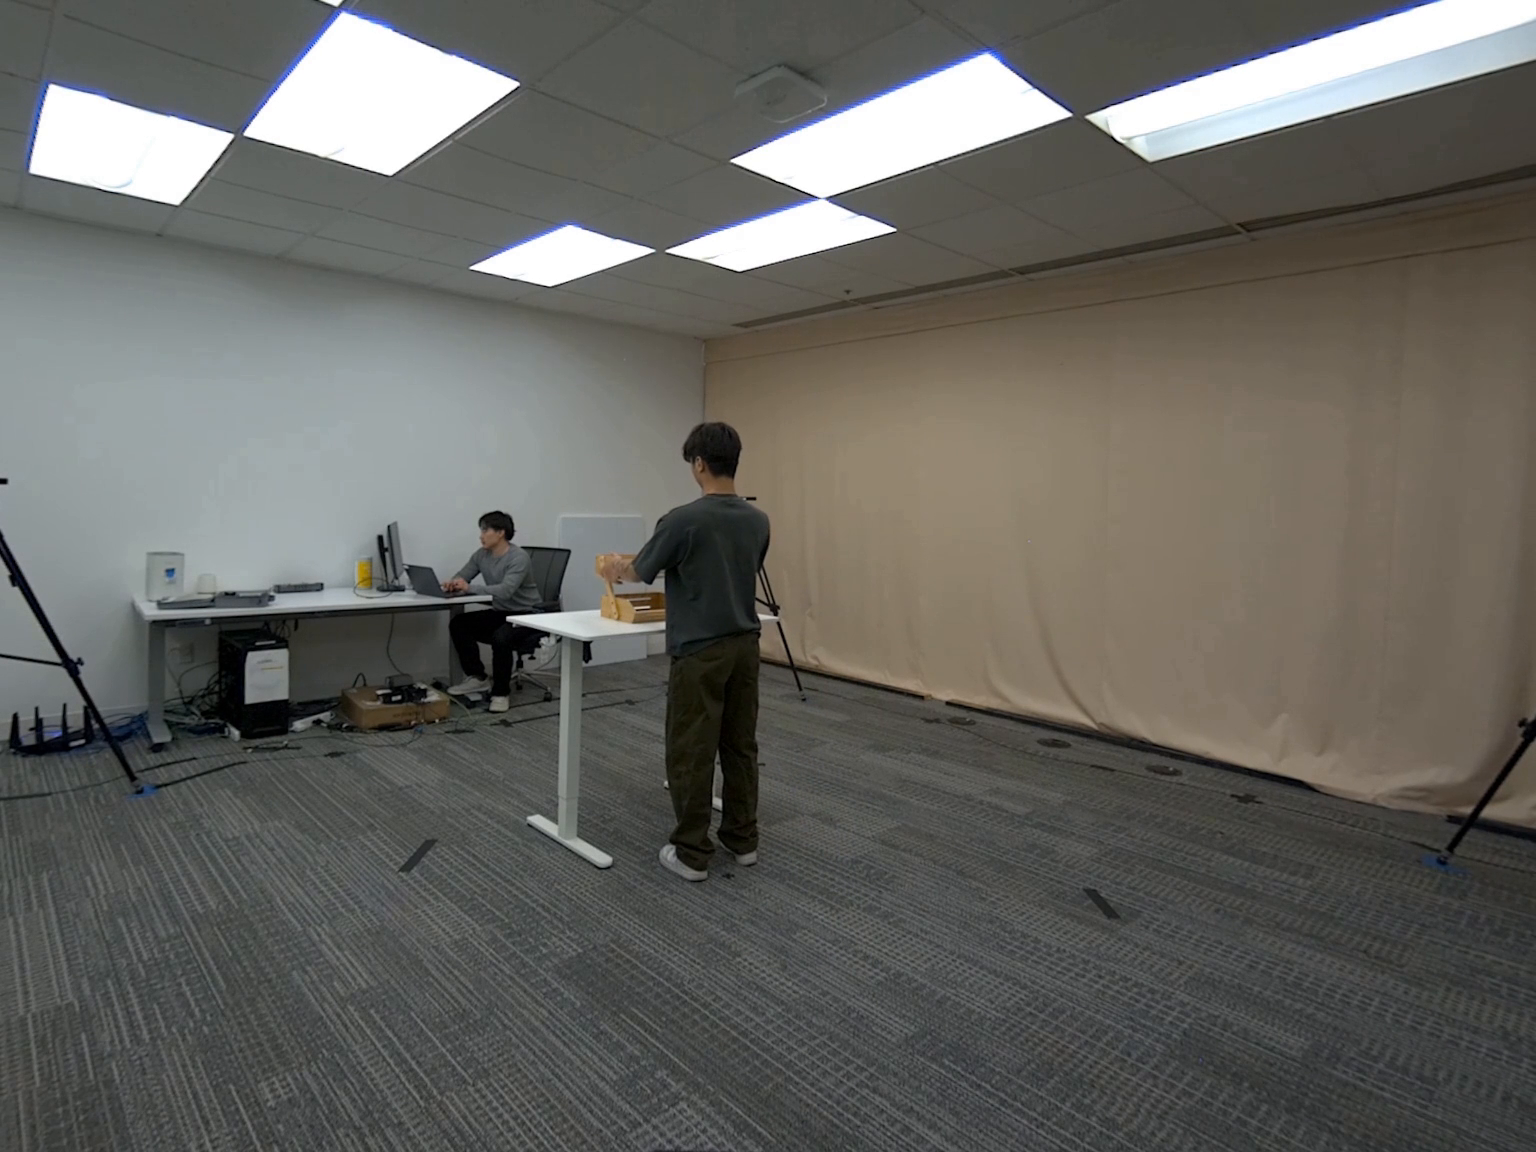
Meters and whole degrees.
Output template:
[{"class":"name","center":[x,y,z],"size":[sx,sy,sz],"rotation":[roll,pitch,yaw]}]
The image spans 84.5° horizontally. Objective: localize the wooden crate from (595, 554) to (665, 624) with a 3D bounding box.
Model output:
[{"class":"wooden crate","center":[-0.534,0.043,3.564],"size":[0.317,0.273,0.310],"rotation":[-1,4,-43]}]
